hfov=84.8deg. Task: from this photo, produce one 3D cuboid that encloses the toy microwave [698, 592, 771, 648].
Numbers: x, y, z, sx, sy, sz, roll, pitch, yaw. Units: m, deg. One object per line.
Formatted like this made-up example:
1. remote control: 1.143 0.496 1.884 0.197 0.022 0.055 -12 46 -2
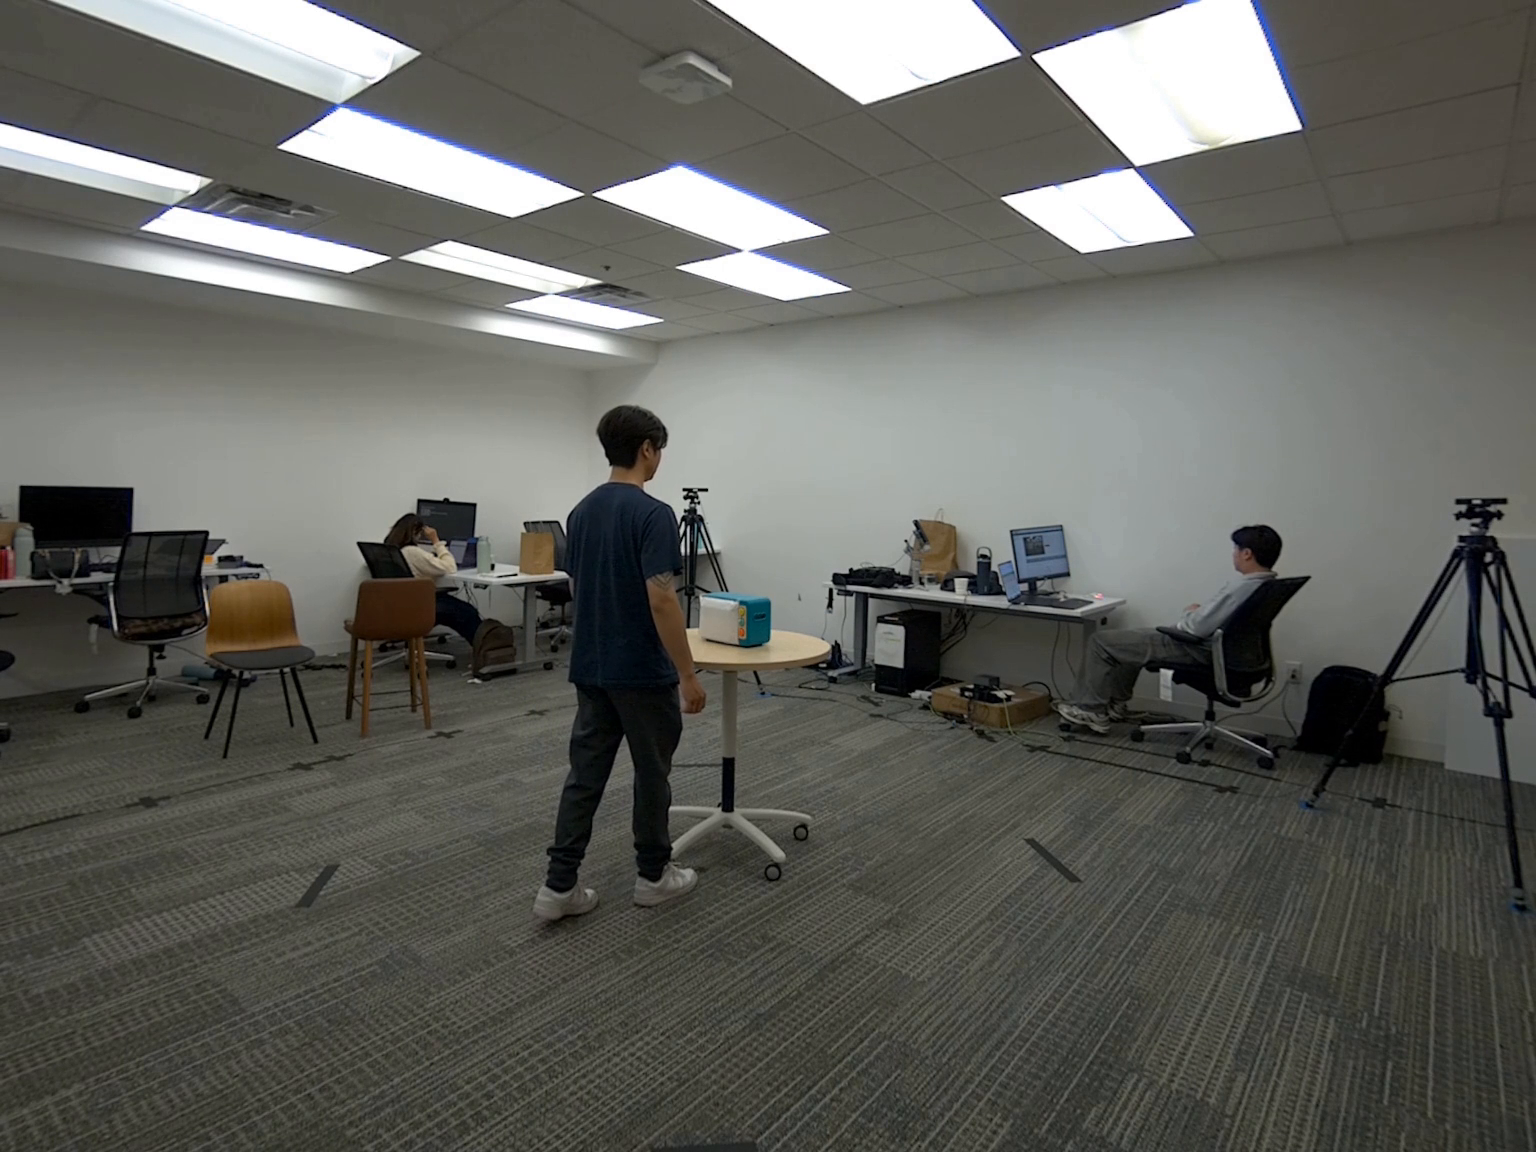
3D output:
1. toy microwave: -0.150 0.163 3.298 0.296 0.183 0.148 6 7 44
